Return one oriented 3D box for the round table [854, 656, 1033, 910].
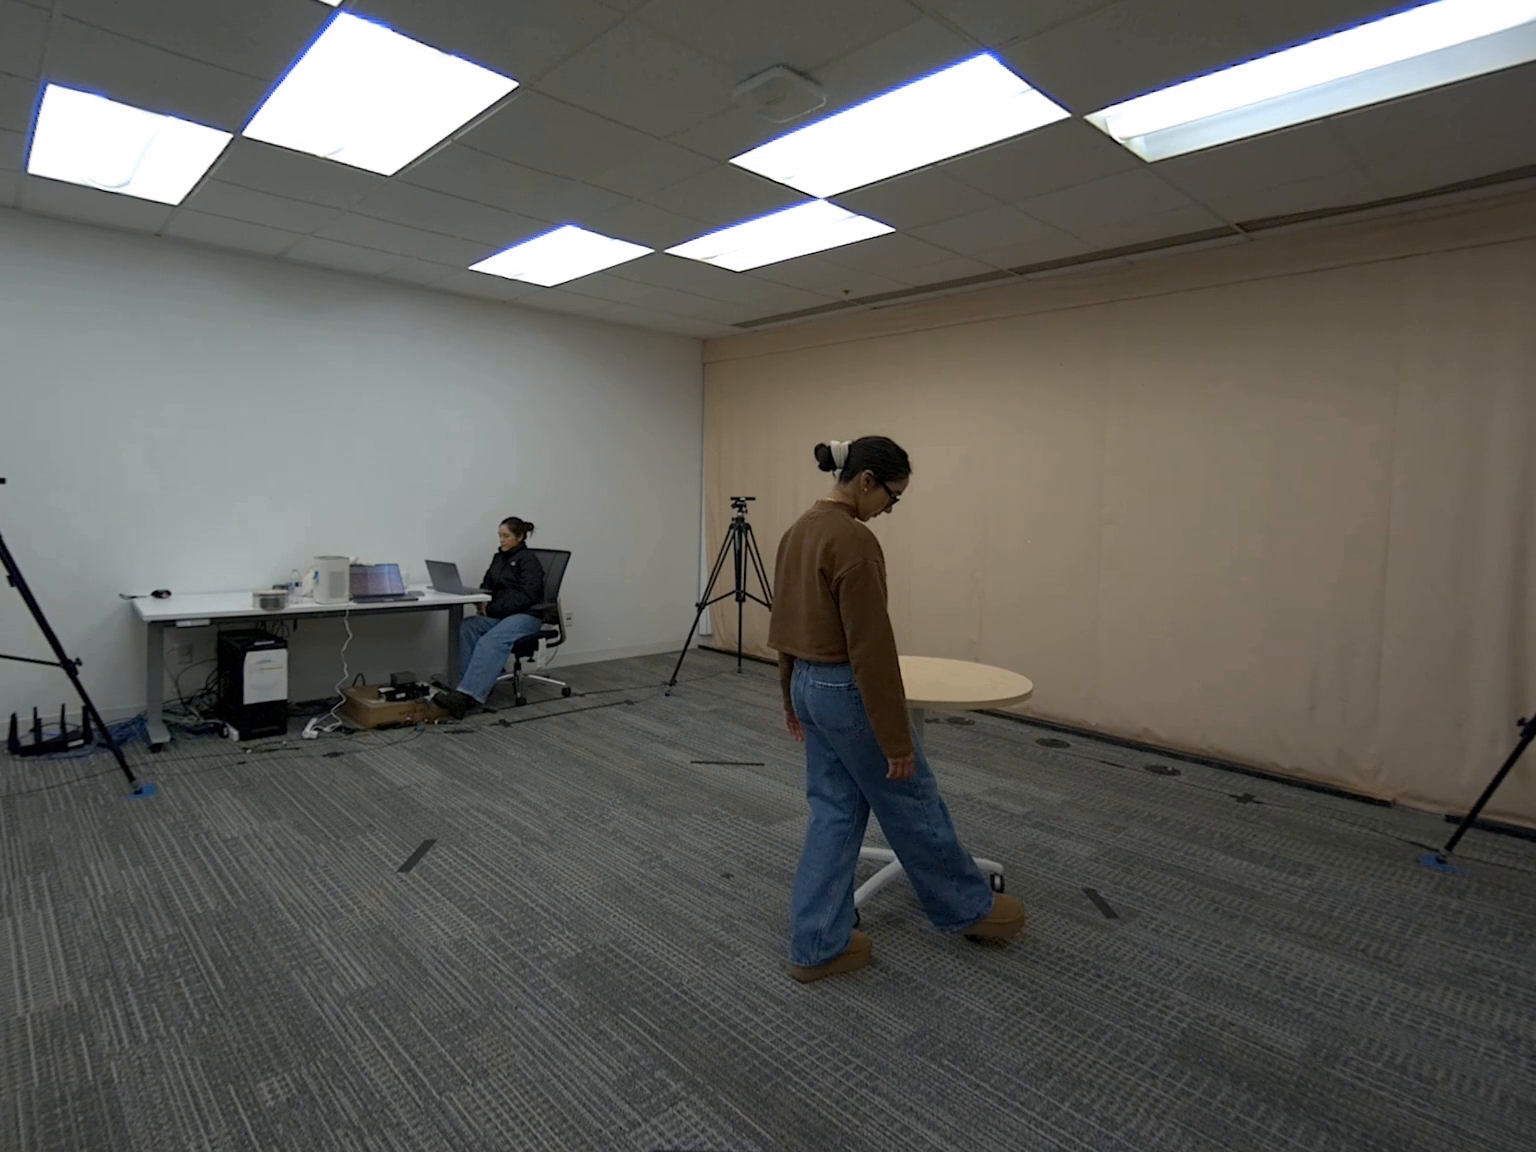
[{"bbox_3d":[0.508,0.744,2.981,0.763,0.792,0.766,1,4,-1],"label":"round table"}]
